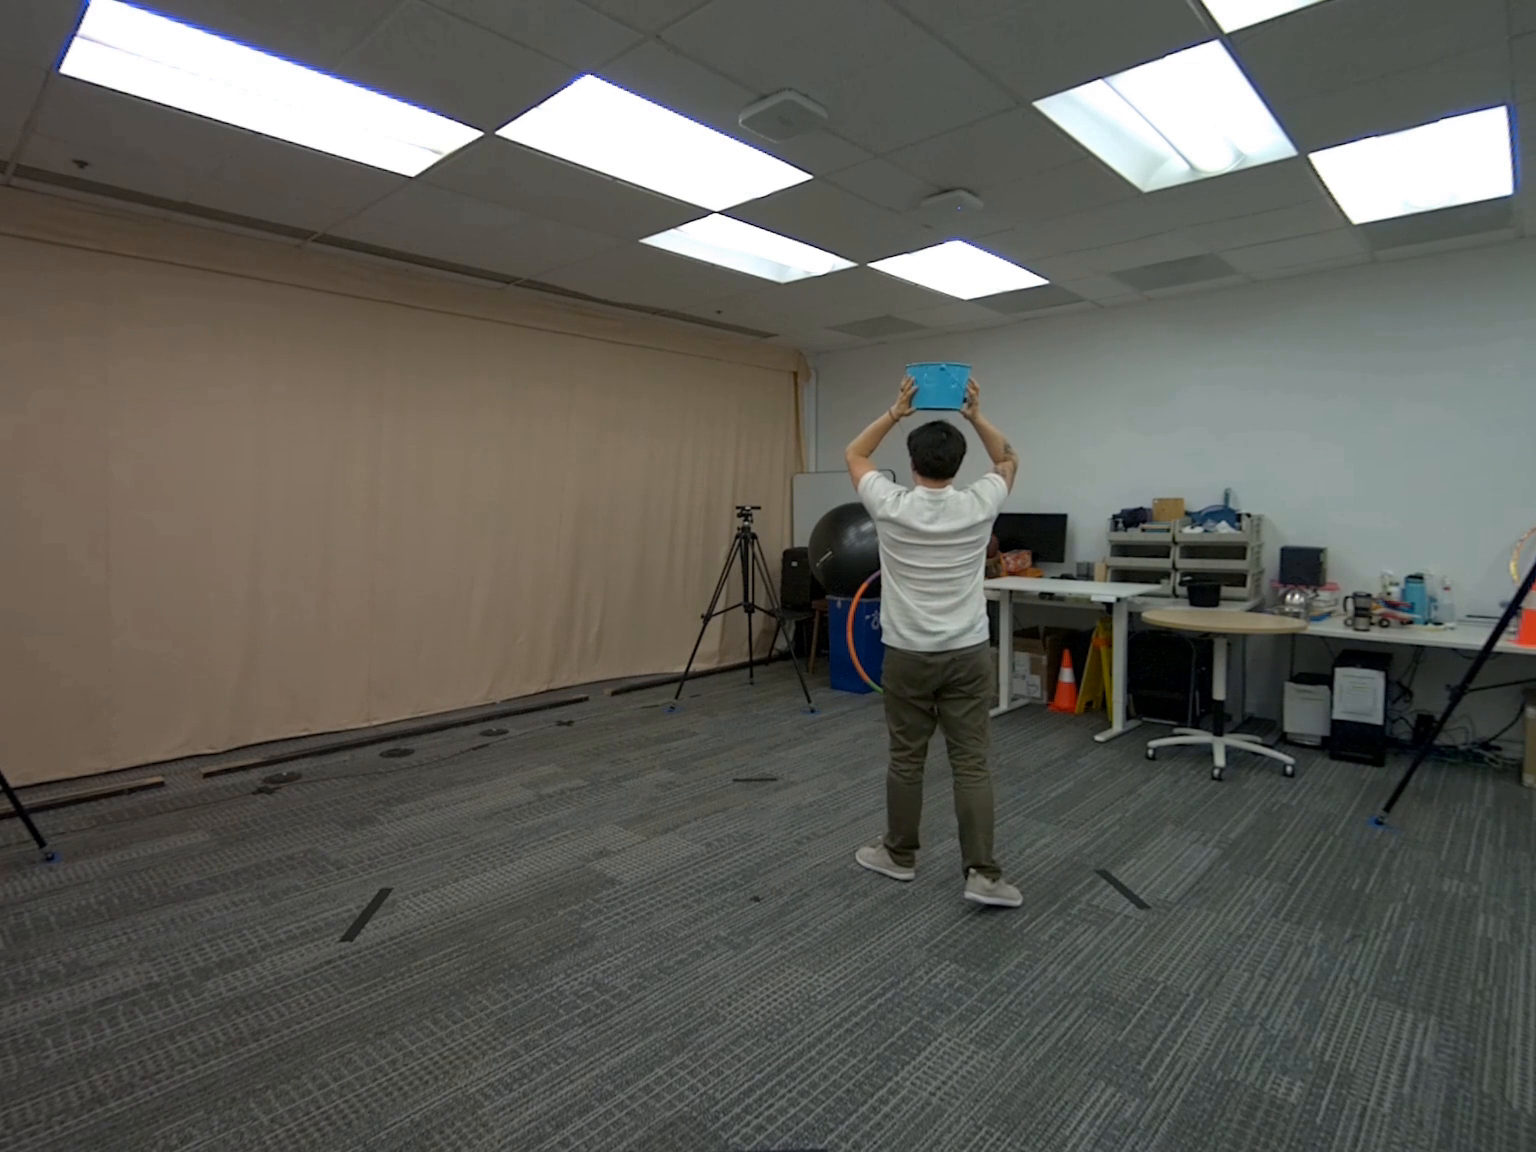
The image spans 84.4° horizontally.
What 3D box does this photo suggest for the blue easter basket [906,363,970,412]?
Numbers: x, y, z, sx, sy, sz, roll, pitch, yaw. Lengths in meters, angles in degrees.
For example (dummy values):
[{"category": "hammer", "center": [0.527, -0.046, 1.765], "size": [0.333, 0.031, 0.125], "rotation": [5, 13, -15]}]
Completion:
[{"category": "blue easter basket", "center": [0.625, -0.676, 3.026], "size": [0.243, 0.155, 0.245], "rotation": [2, 6, -2]}]
